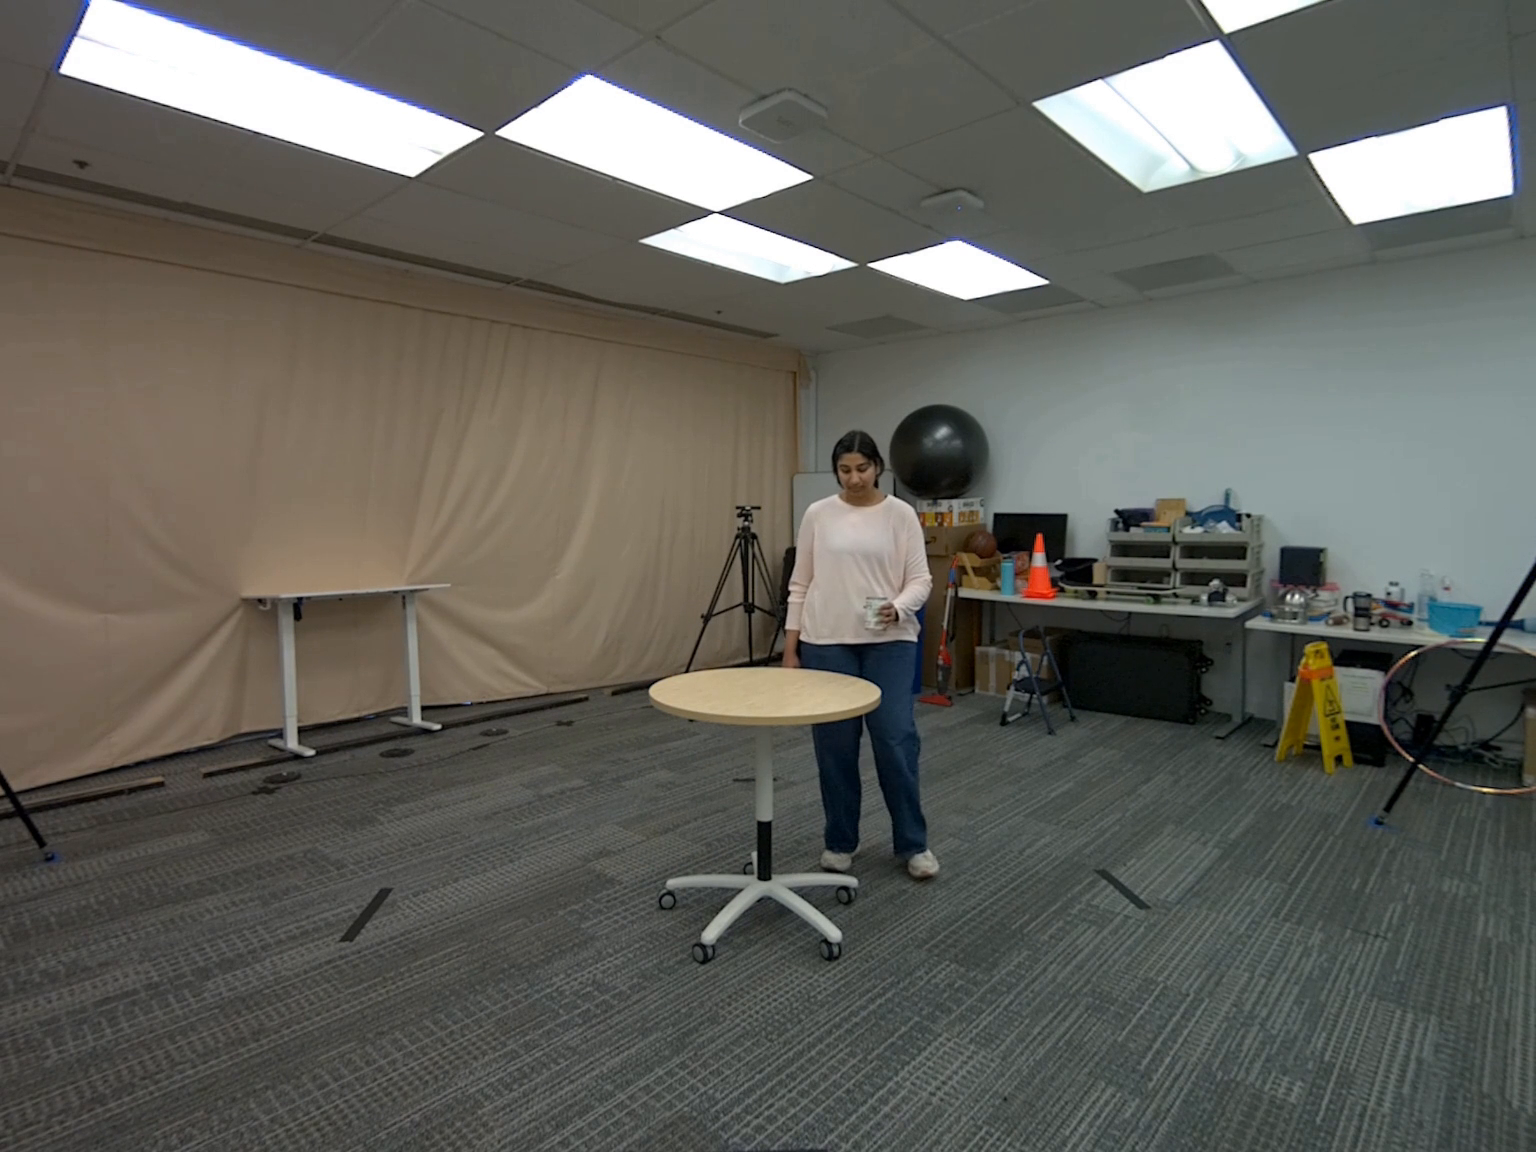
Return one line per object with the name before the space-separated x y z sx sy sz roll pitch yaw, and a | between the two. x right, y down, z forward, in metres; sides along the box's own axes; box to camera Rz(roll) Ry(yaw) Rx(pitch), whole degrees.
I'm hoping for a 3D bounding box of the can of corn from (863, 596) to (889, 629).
can of corn | 0.378 0.133 2.930 0.074 0.111 0.074 1 0 -2
